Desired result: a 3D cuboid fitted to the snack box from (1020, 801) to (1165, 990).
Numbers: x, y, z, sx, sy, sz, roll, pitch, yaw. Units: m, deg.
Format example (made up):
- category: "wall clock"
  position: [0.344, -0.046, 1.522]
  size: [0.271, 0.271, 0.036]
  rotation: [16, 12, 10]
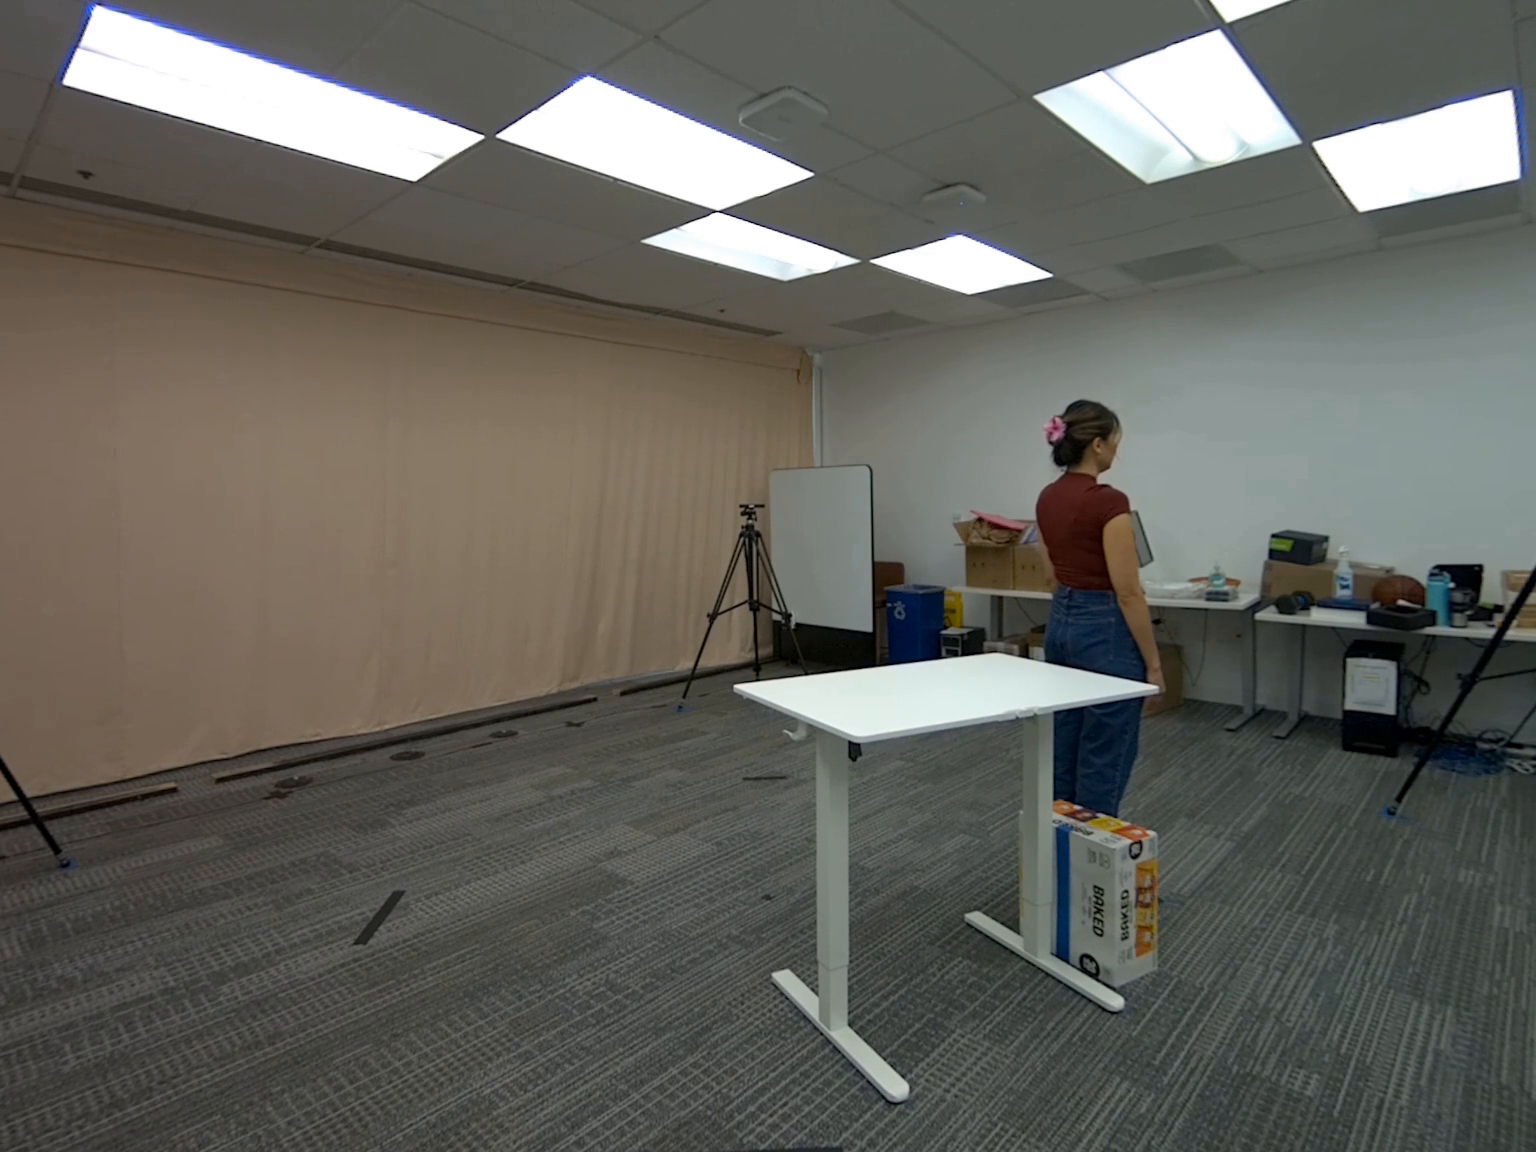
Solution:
- category: "snack box"
  position: [0.979, 0.946, 2.577]
  size: [0.200, 0.404, 0.350]
  rotation: [-3, 4, -31]
